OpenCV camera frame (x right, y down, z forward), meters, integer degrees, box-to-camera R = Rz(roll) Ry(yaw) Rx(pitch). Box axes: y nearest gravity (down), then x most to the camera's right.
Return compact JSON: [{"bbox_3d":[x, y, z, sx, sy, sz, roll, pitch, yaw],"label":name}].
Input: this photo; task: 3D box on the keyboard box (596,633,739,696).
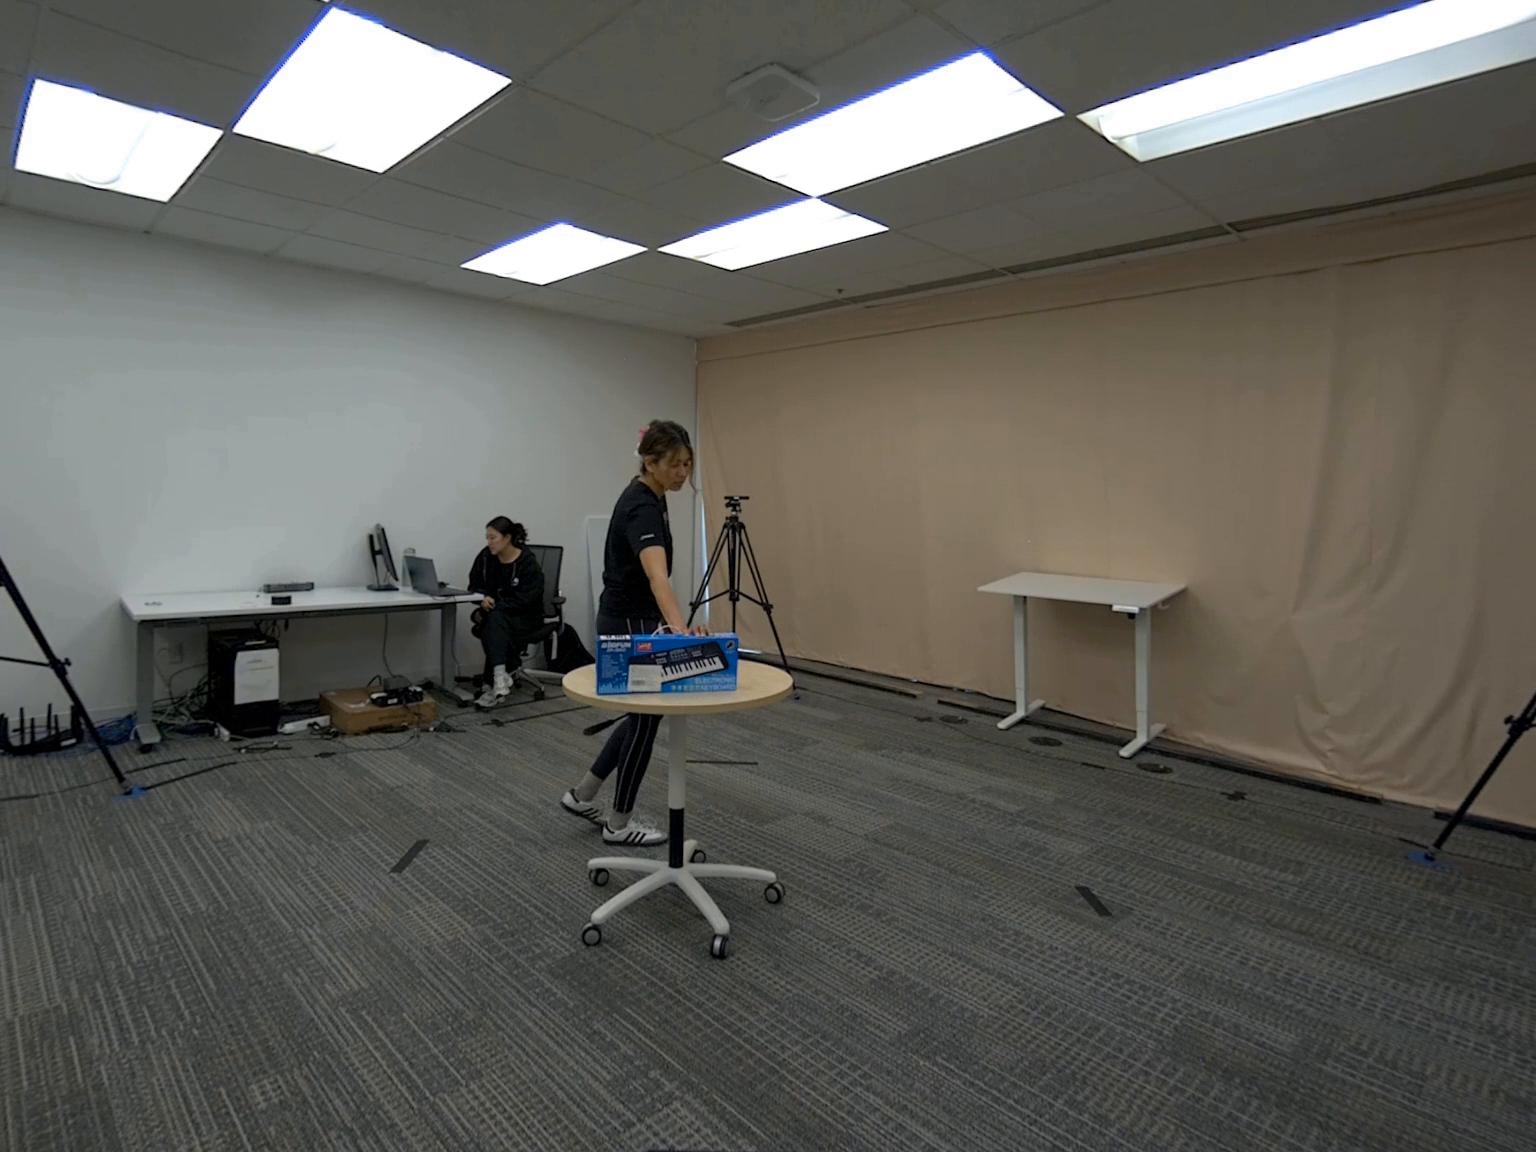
[{"bbox_3d":[-0.315,0.276,2.615,0.433,0.175,0.060,0,10,-11],"label":"keyboard box"}]
